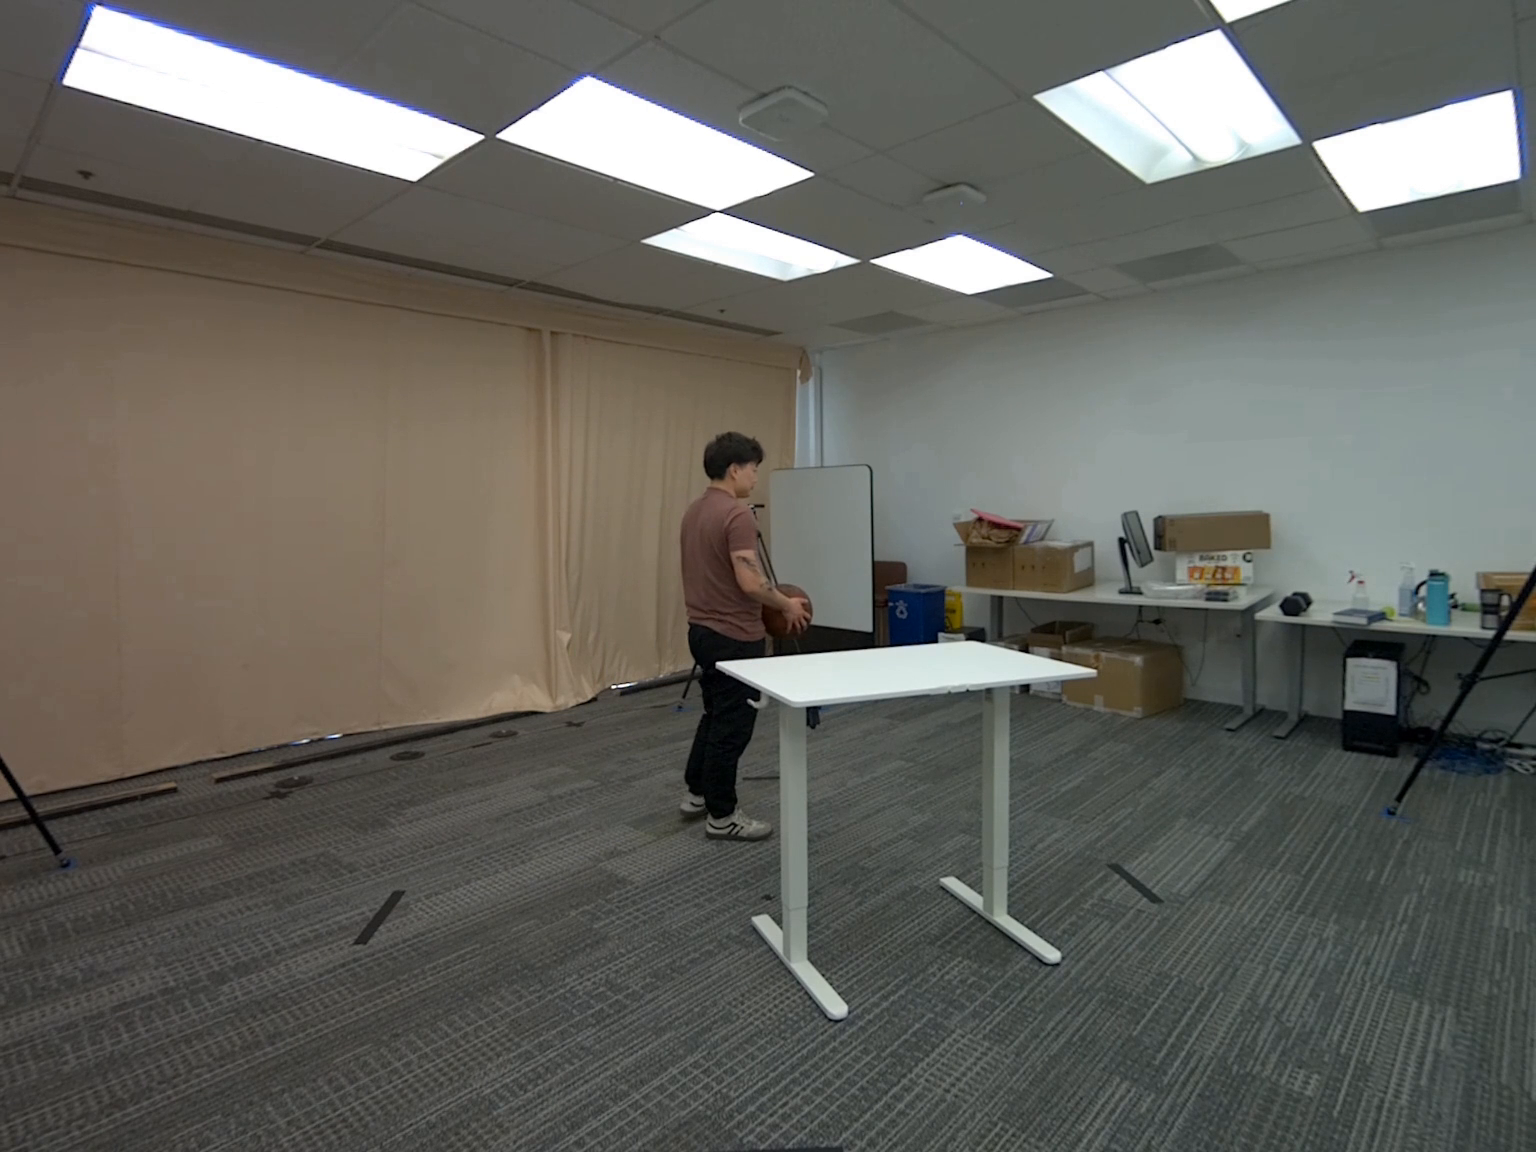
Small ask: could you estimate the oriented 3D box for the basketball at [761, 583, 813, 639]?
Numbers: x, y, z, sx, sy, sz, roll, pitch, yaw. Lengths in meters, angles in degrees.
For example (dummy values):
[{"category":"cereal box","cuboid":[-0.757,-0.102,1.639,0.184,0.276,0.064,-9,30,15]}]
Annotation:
[{"category":"basketball","cuboid":[0.071,0.151,3.558,0.236,0.235,0.237,-1,4,-2]}]
